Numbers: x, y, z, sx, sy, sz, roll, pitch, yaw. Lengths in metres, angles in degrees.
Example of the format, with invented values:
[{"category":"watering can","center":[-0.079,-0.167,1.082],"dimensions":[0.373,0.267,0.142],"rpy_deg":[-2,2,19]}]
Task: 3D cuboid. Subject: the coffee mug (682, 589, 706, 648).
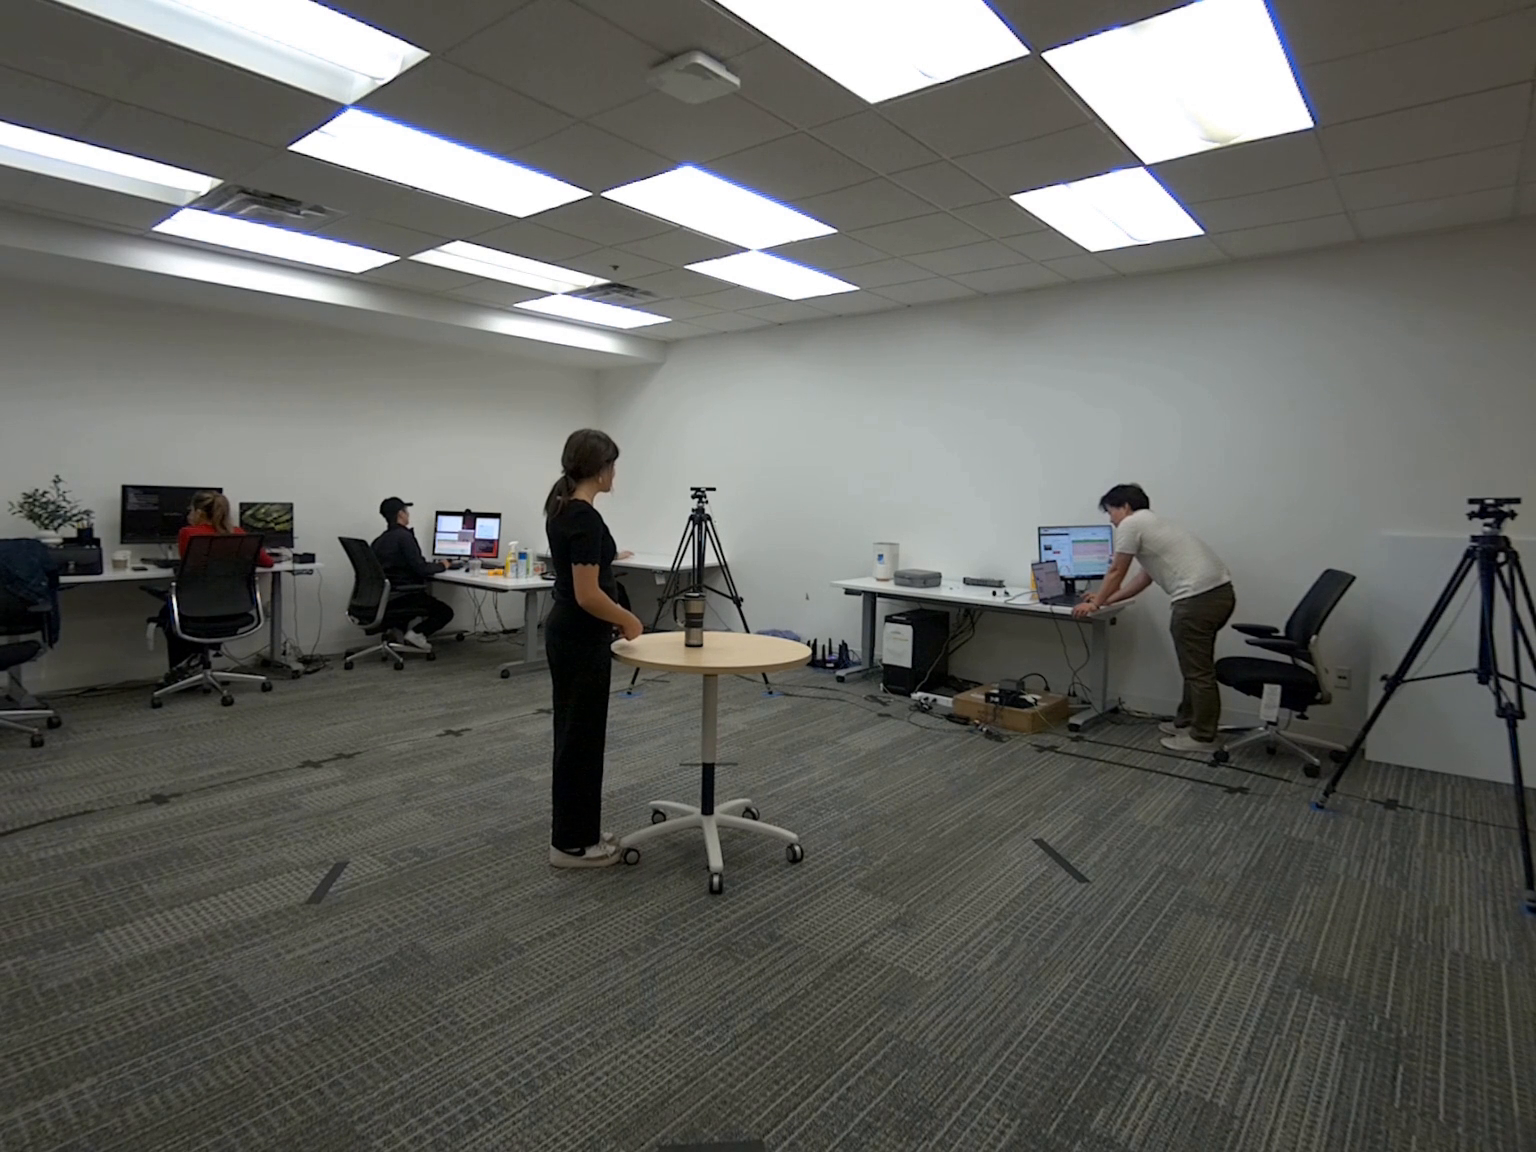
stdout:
[{"category":"coffee mug","center":[-0.313,0.172,3.267],"dimensions":[0.126,0.201,0.085],"rpy_deg":[4,10,42]}]
